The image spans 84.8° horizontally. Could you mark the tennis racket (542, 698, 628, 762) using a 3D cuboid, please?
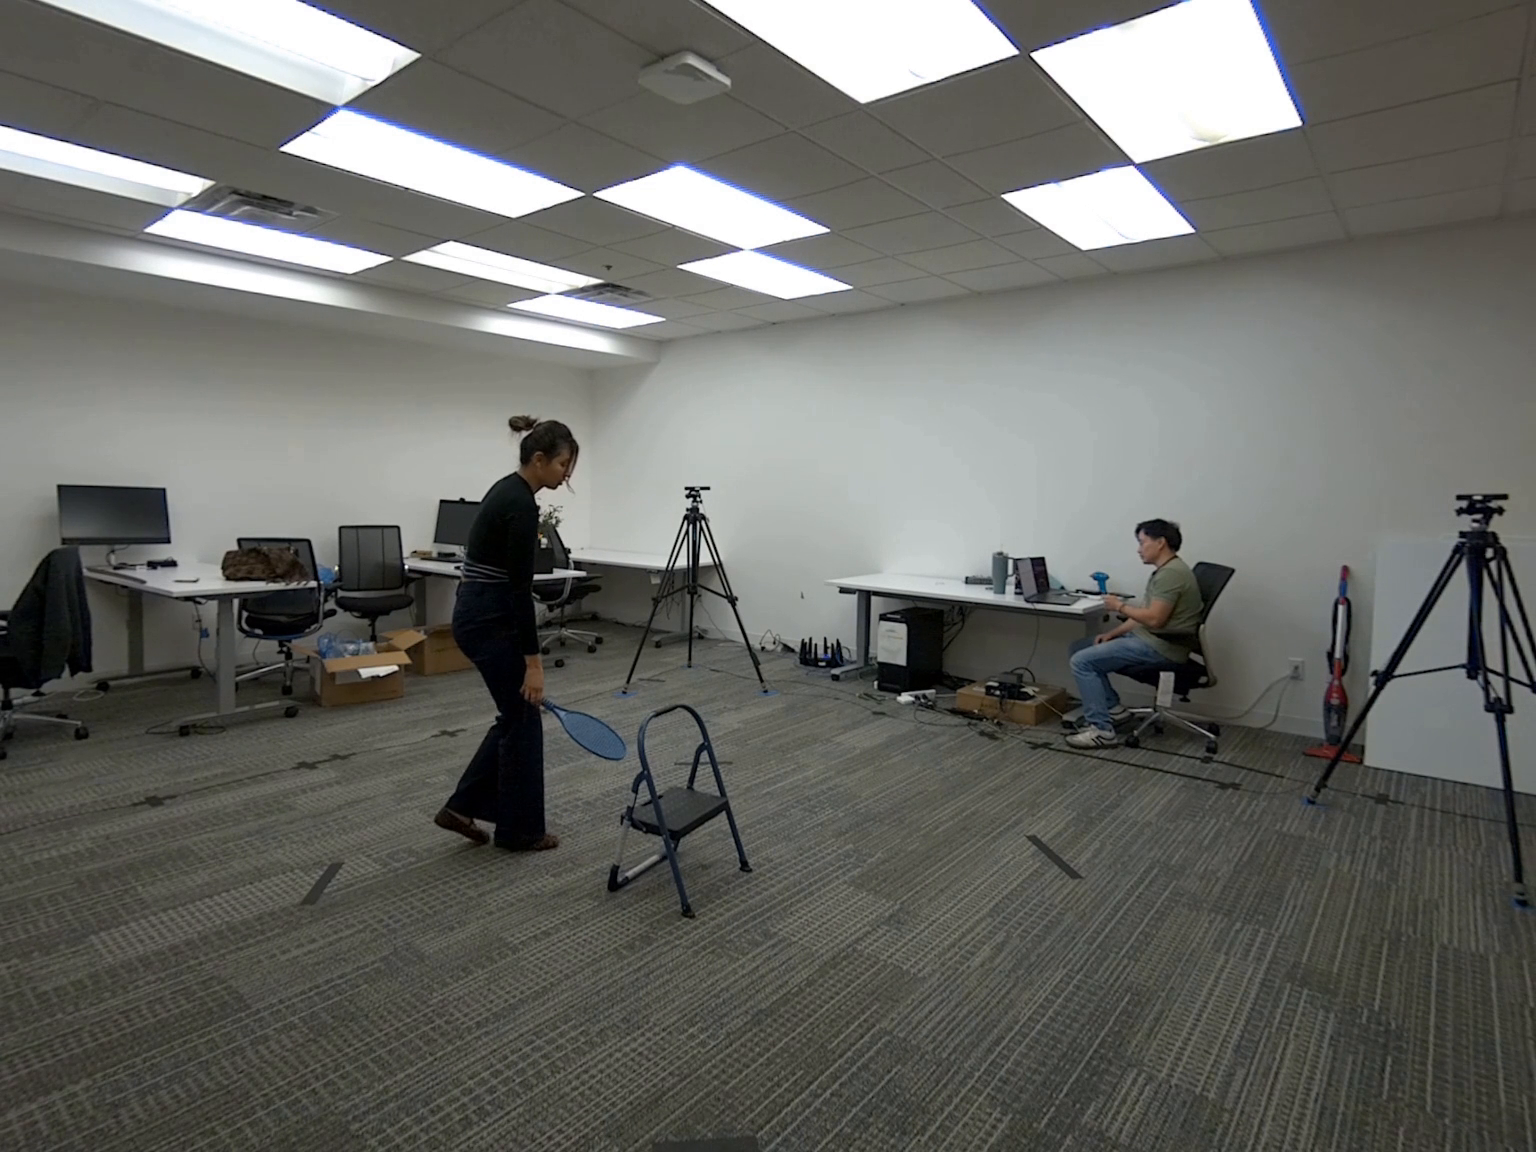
[{"bbox_3d":[-0.706,0.530,3.066,0.433,0.031,0.214,32,14,0],"label":"tennis racket"}]
